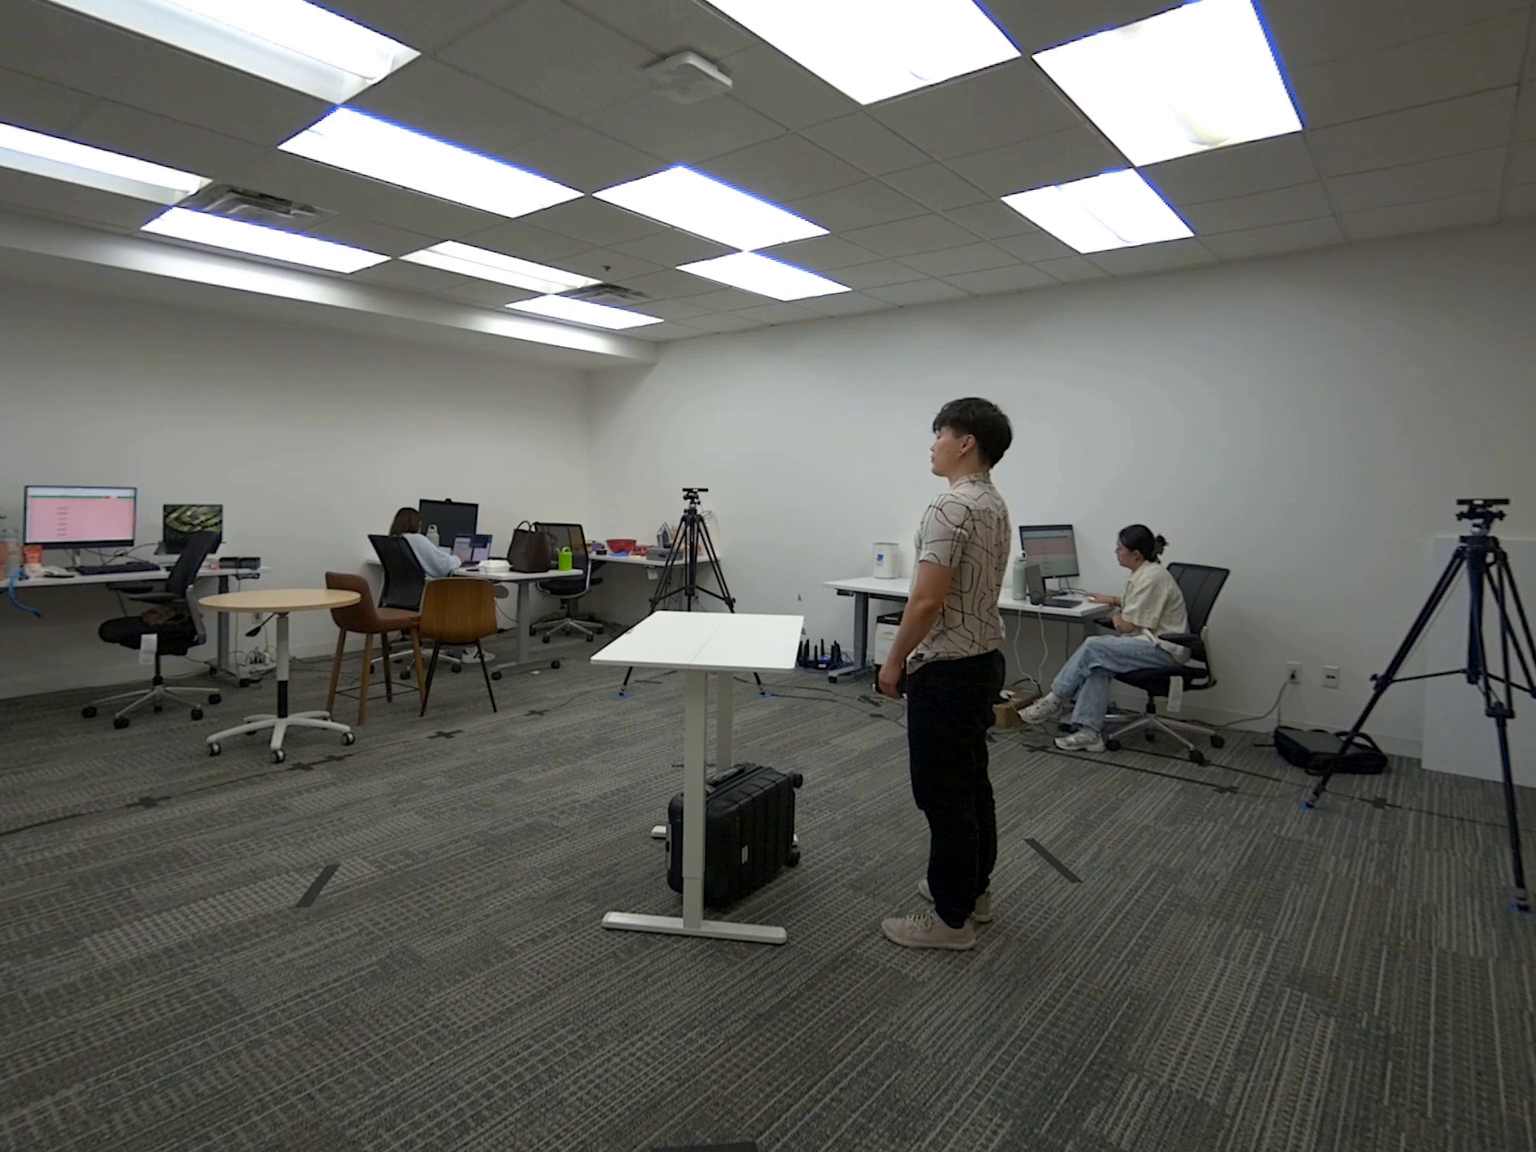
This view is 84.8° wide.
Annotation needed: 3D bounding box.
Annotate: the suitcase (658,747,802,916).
[{"bbox_3d":[-0.124,0.883,3.001,0.256,0.374,0.534,3,4,31],"label":"suitcase"}]
